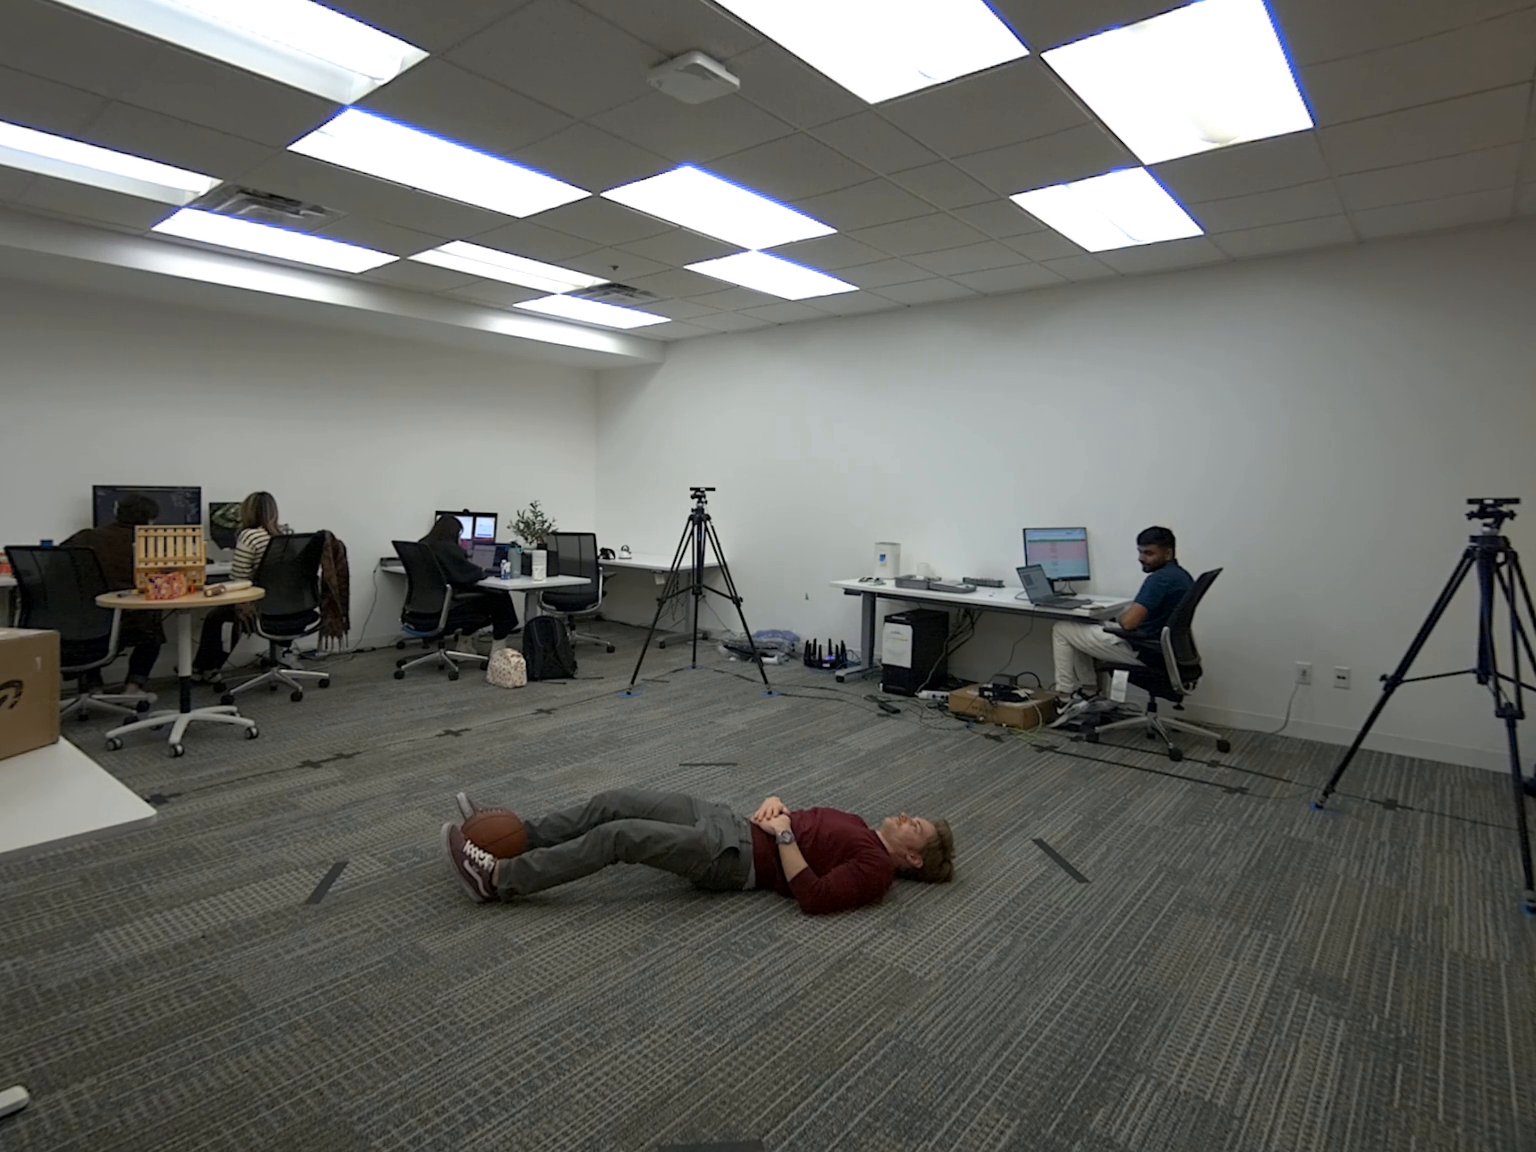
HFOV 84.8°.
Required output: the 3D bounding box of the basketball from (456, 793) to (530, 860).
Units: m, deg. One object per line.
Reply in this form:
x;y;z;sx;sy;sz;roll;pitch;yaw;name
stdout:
-0.982;0.930;2.967;0.236;0.235;0.237;-3;3;-2;basketball
